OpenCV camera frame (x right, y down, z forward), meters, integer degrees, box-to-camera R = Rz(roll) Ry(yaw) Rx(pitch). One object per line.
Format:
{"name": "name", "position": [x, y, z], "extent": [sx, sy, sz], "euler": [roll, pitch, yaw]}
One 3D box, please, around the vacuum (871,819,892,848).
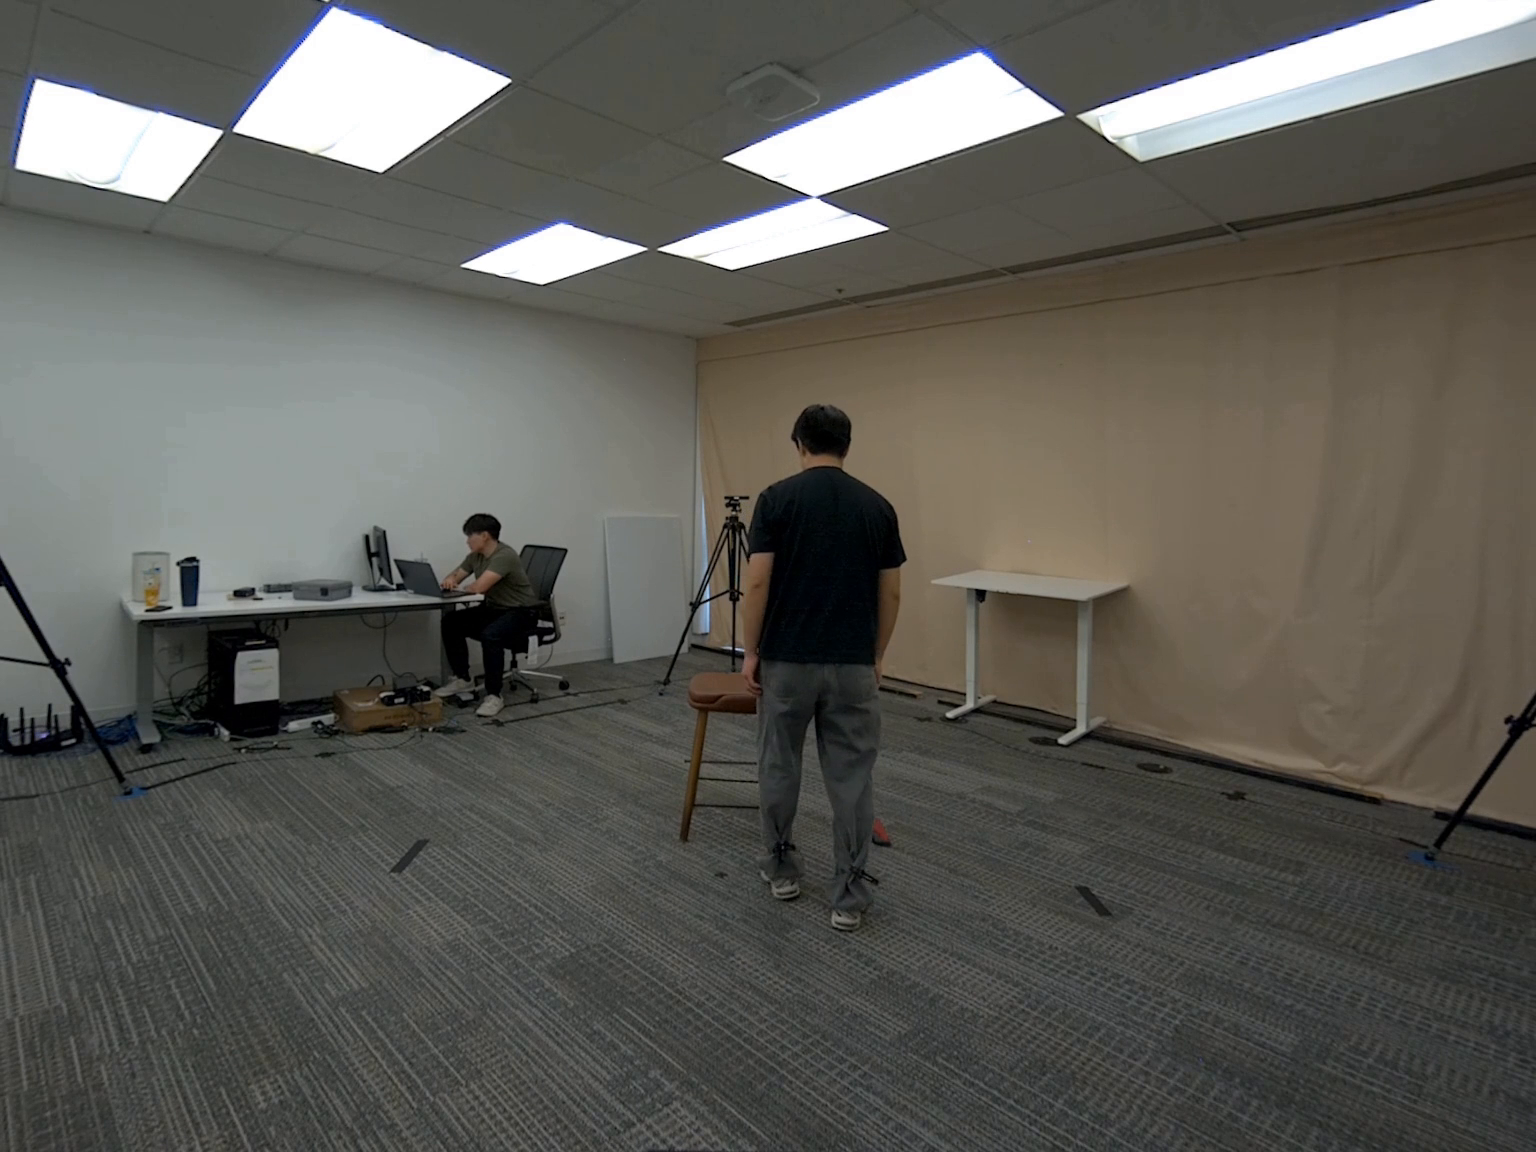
{"name": "vacuum", "position": [0.275, 0.579, 3.490], "extent": [0.143, 1.045, 0.255], "euler": [-17, 5, -12]}
